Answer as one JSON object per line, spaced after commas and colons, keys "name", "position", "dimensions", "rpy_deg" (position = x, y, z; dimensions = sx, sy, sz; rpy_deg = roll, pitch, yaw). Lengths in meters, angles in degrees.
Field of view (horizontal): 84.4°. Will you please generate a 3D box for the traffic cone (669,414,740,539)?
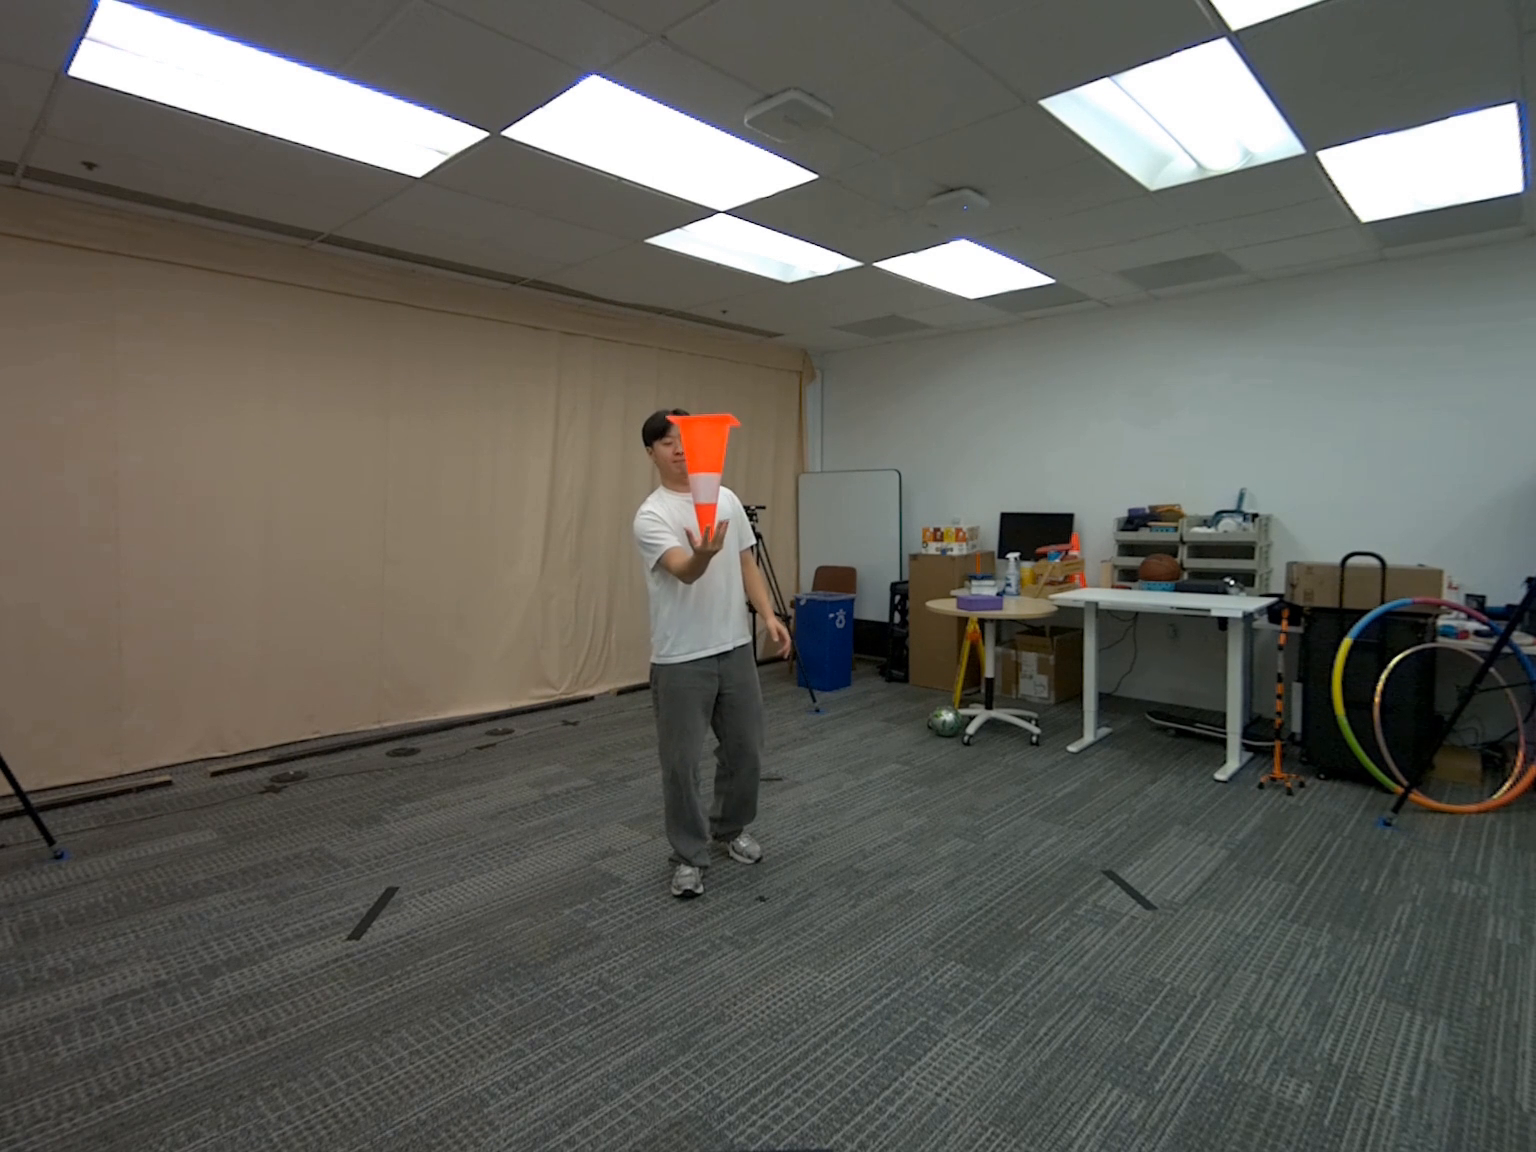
{"name": "traffic cone", "position": [-0.187, -0.288, 2.577], "dimensions": [0.207, 0.384, 0.201], "rpy_deg": [-1, -1, 15]}
